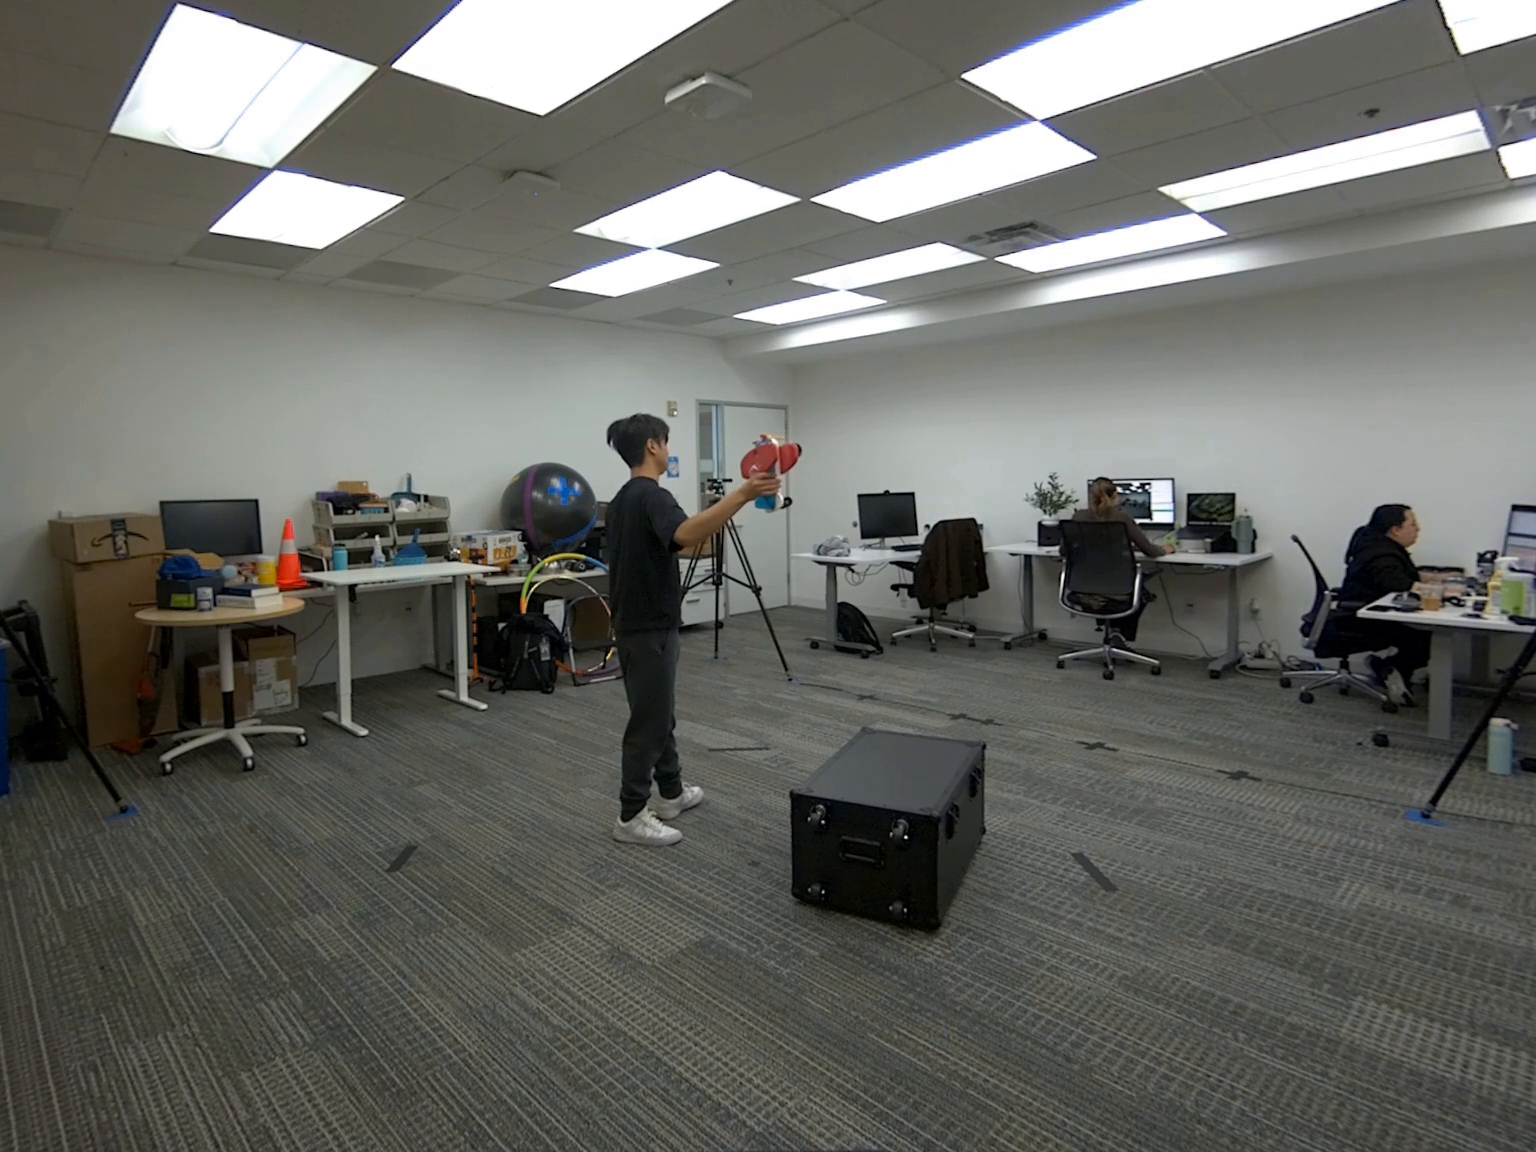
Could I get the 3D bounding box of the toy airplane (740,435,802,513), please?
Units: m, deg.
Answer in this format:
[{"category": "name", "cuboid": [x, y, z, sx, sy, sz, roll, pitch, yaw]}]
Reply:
[{"category": "toy airplane", "cuboid": [0.026, -0.359, 2.921, 0.152, 0.267, 0.250, 14, -43, -24]}]
